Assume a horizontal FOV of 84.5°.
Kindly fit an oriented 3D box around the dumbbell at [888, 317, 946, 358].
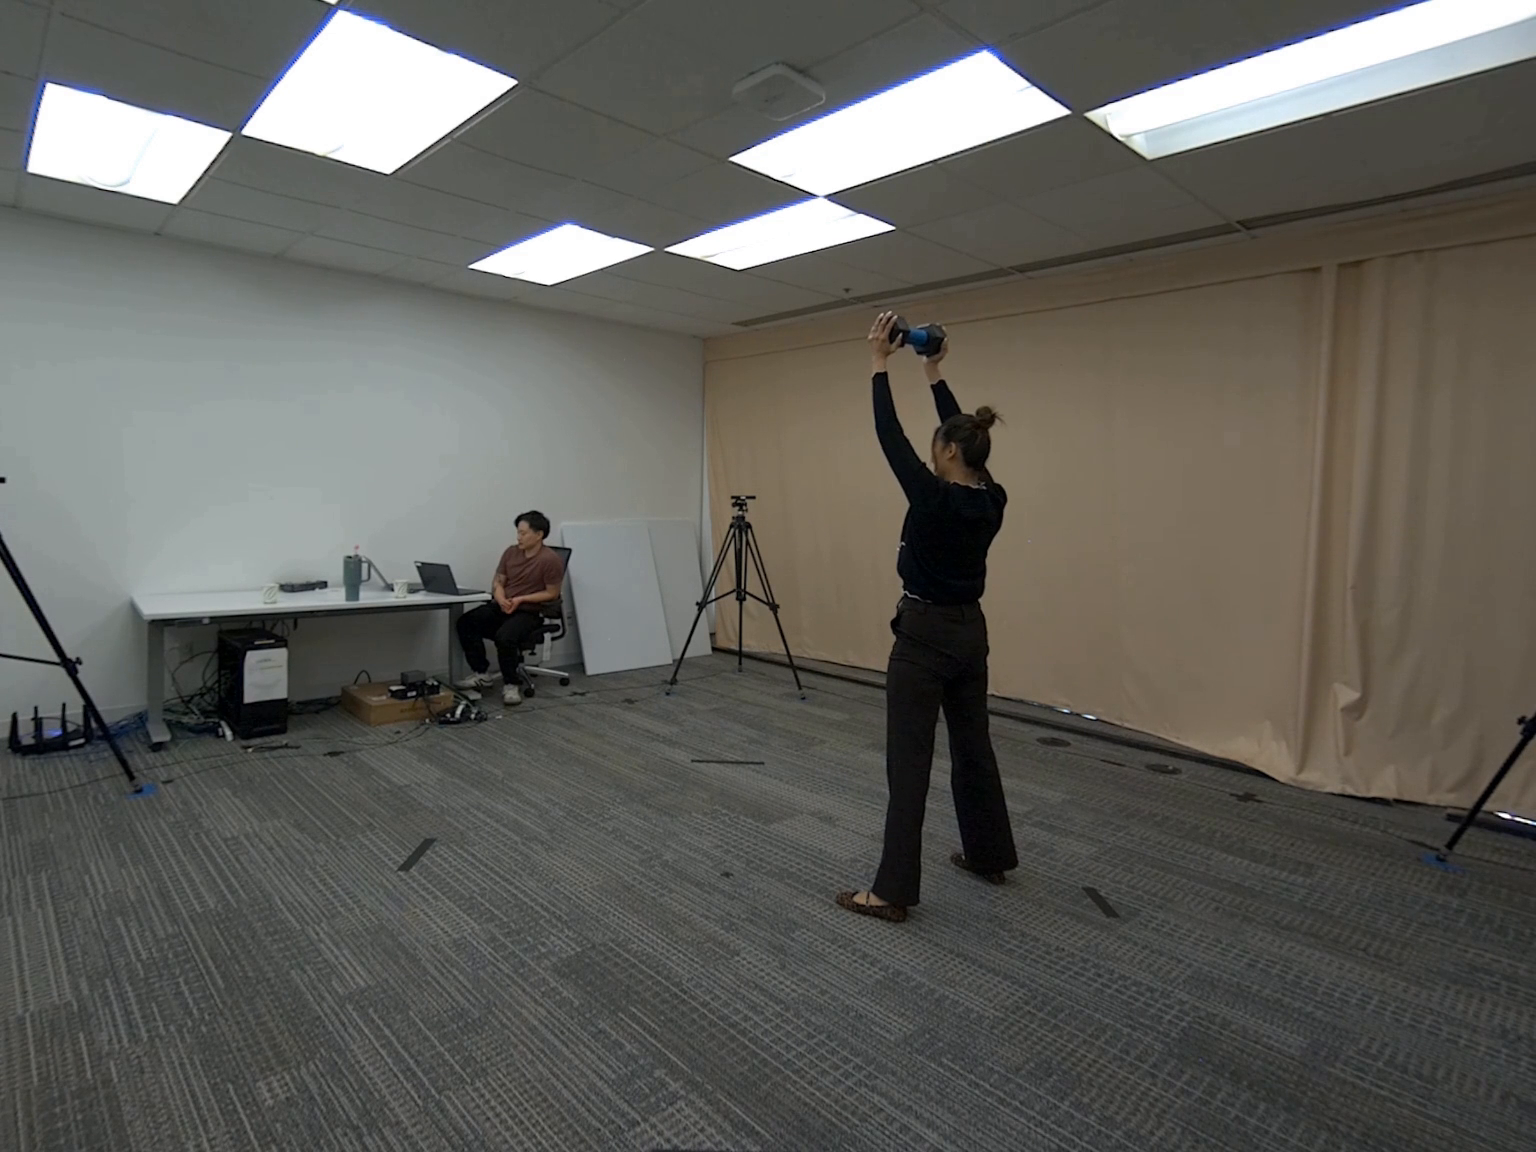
[{"bbox_3d":[0.511,-0.859,3.044,0.287,0.122,0.112,-4,39,-40],"label":"dumbbell"}]
